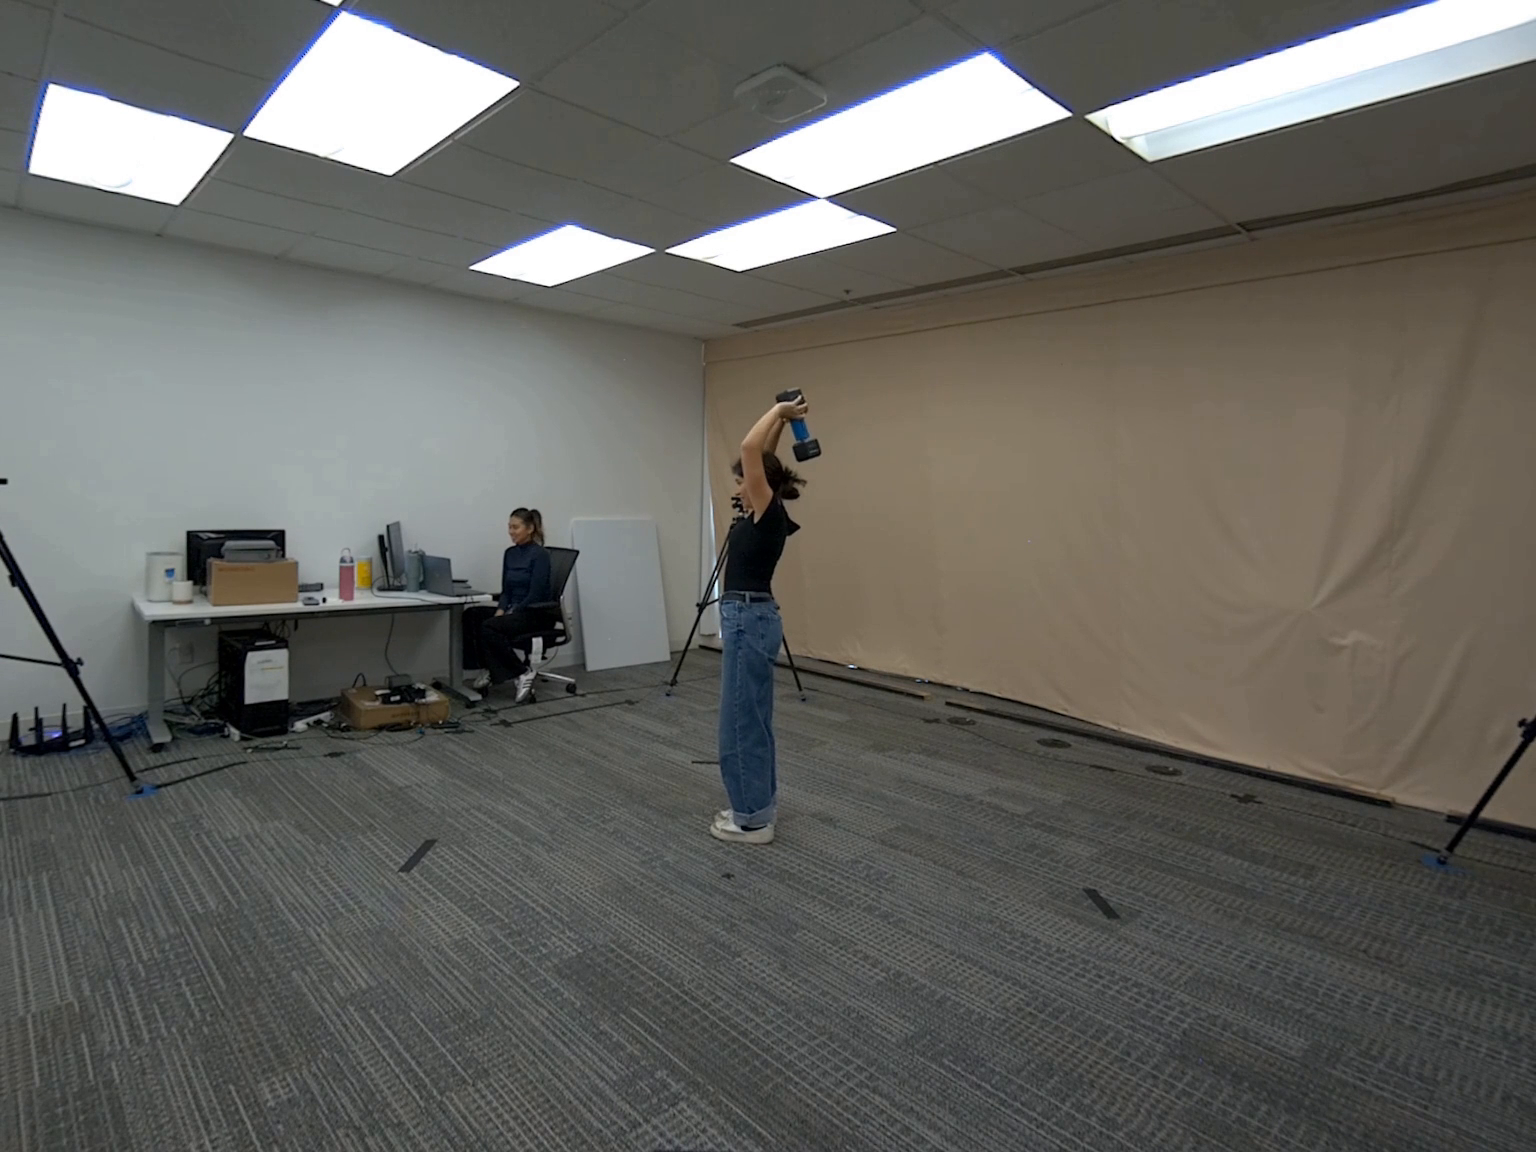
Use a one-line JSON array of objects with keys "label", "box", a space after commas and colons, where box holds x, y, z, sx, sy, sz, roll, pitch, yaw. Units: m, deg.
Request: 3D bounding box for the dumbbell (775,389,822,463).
[{"label": "dumbbell", "box": [0.121, -0.609, 3.438, 0.125, 0.293, 0.107, -17, 2, 38]}]
